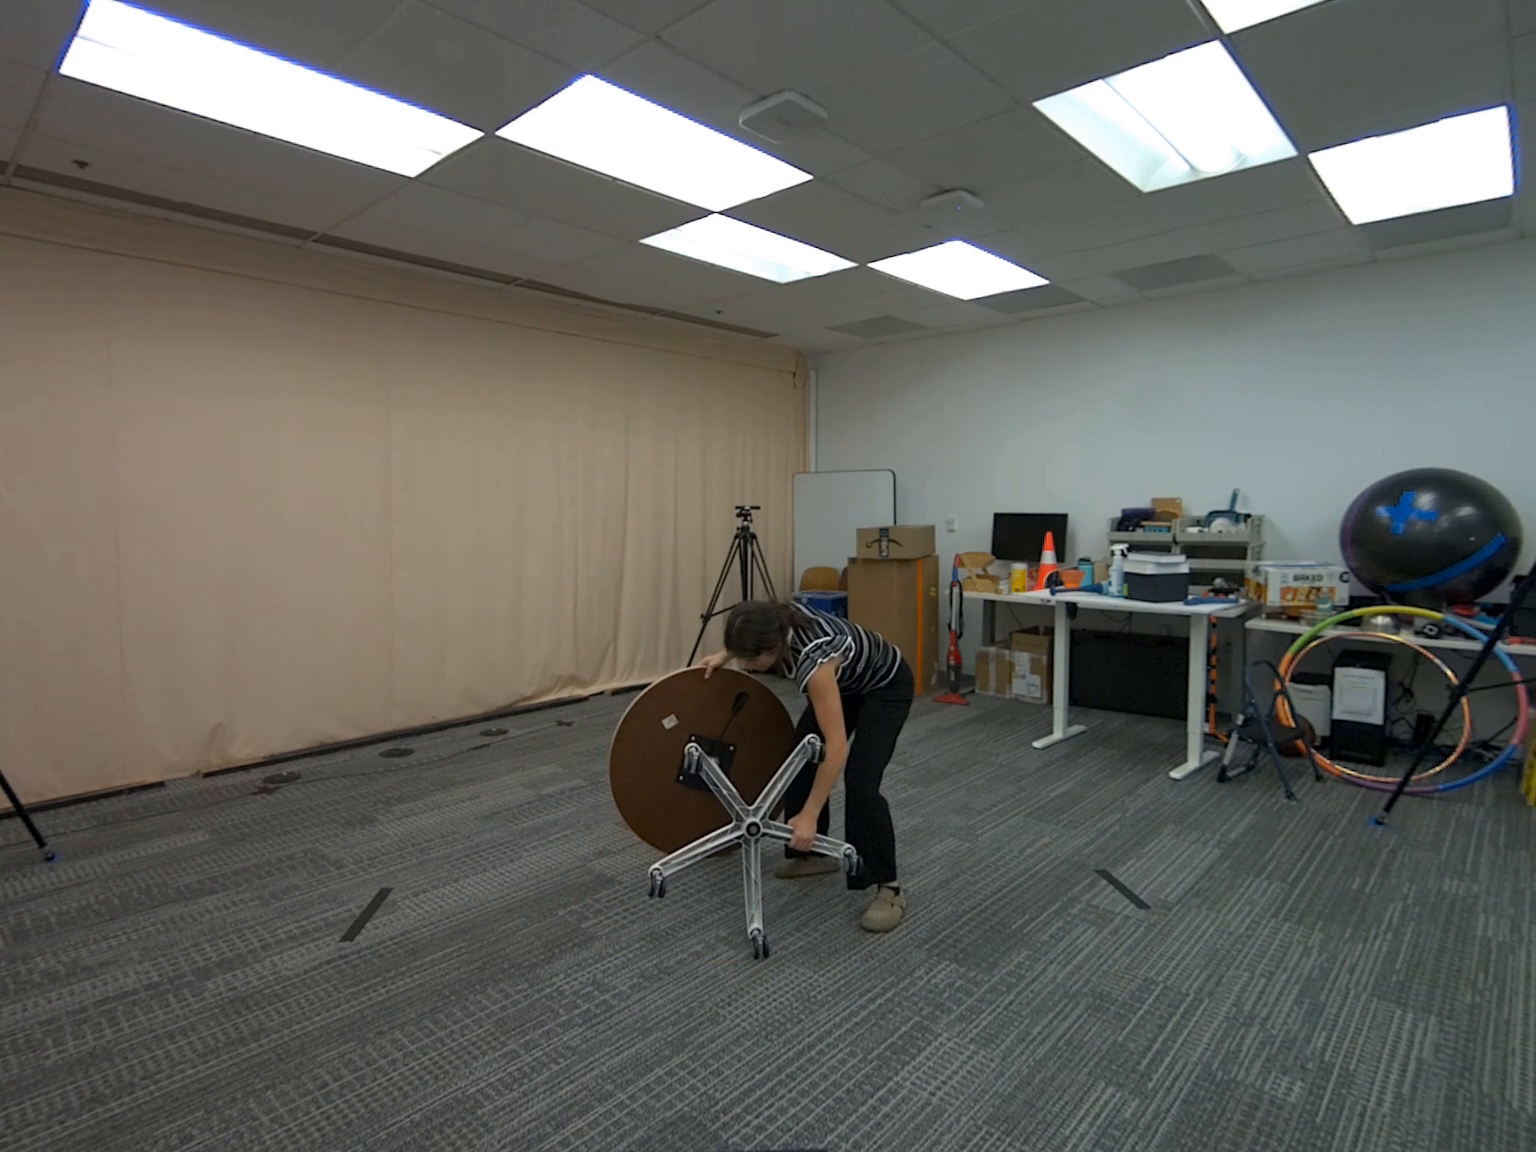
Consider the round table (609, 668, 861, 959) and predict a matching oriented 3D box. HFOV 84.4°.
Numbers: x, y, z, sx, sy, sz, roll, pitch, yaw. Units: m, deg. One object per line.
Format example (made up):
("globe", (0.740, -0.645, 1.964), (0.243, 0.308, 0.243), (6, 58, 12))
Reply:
("round table", (-0.144, 0.776, 2.941), (0.753, 0.761, 0.808), (-1, 5, -14))
